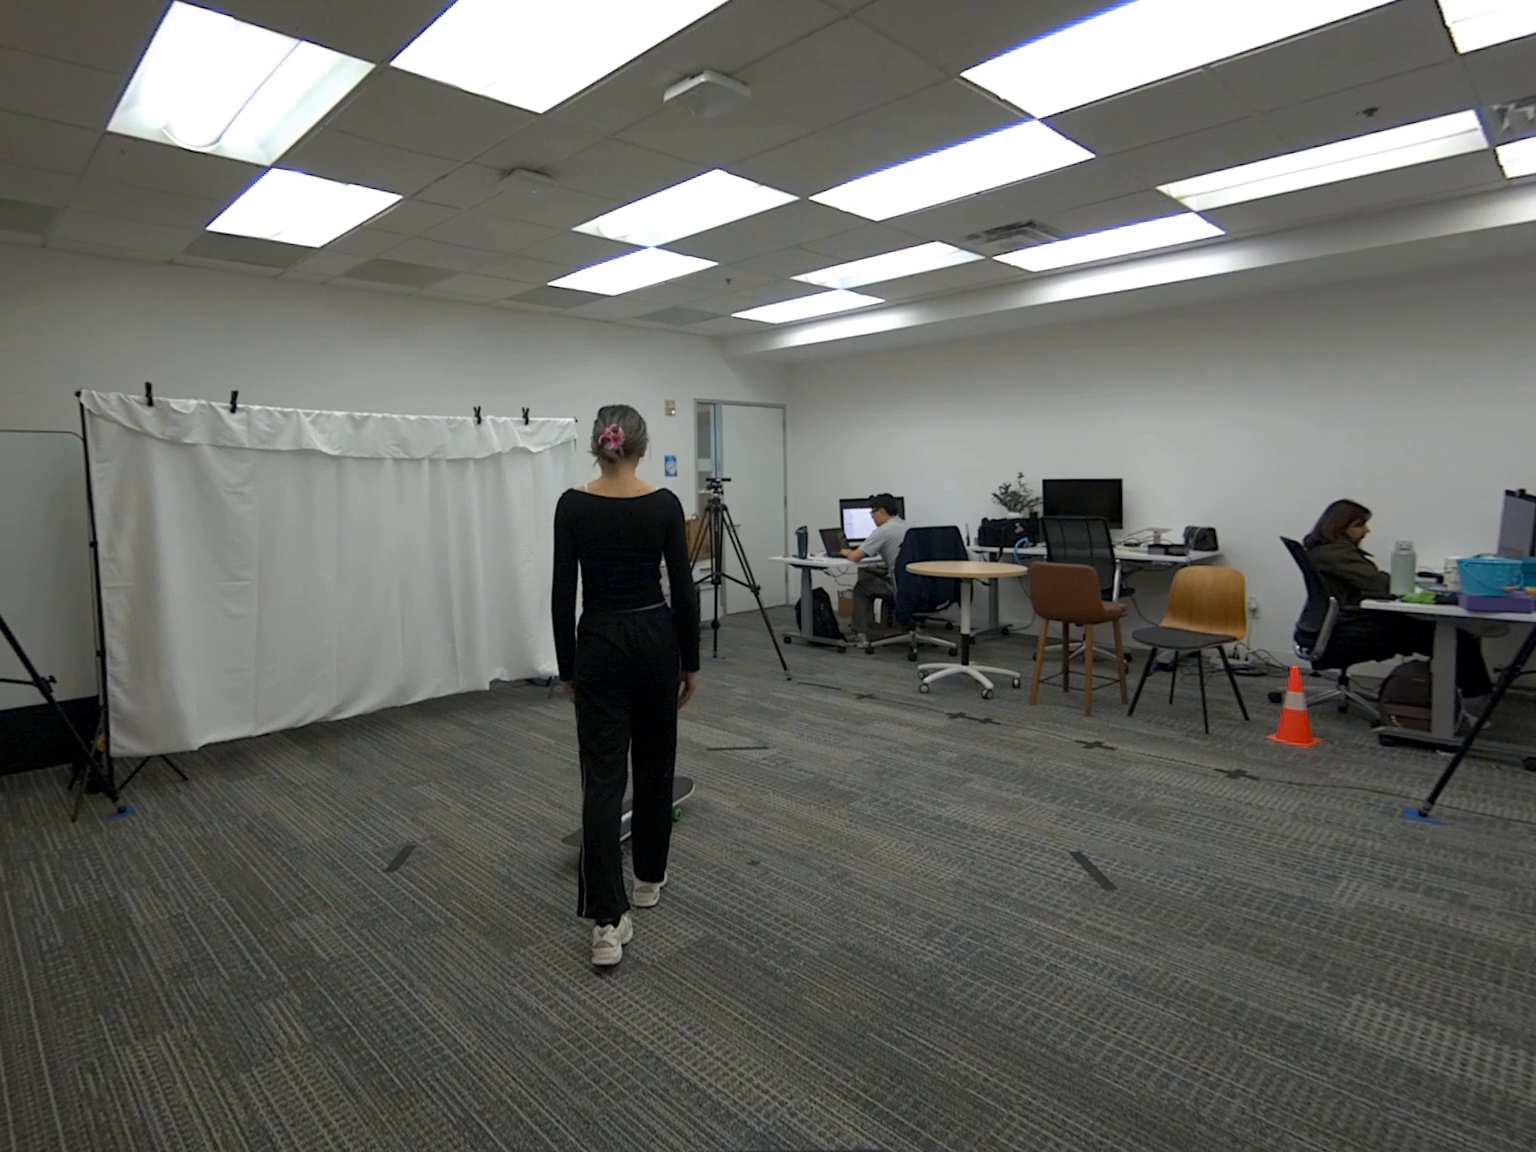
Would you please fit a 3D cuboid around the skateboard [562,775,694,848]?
[{"bbox_3d":[-0.524,0.962,3.368,0.198,0.110,0.770,2,7,25],"label":"skateboard"}]
